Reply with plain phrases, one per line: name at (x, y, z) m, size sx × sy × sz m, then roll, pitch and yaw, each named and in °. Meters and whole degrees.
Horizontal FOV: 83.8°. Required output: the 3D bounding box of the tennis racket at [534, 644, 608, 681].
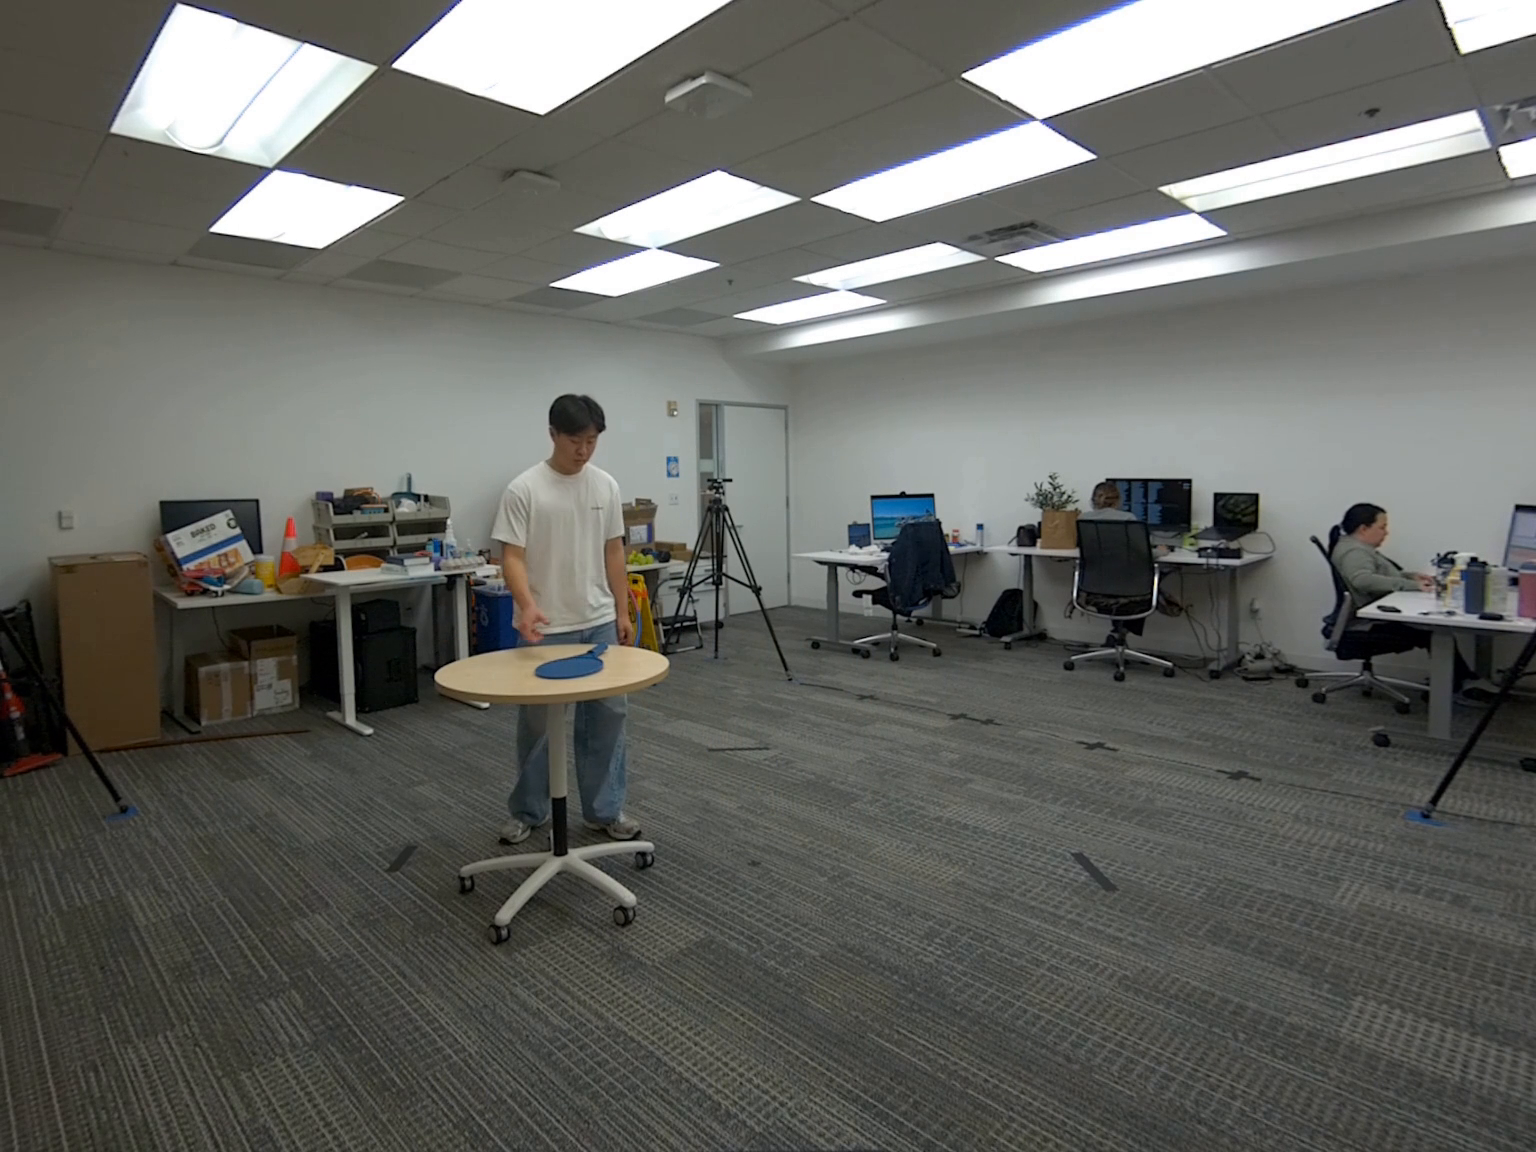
tennis racket at (-0.631, 0.286, 2.876) m, size 0.216 × 0.031 × 0.430 m, roll 1°, pitch 8°, yaw 12°
